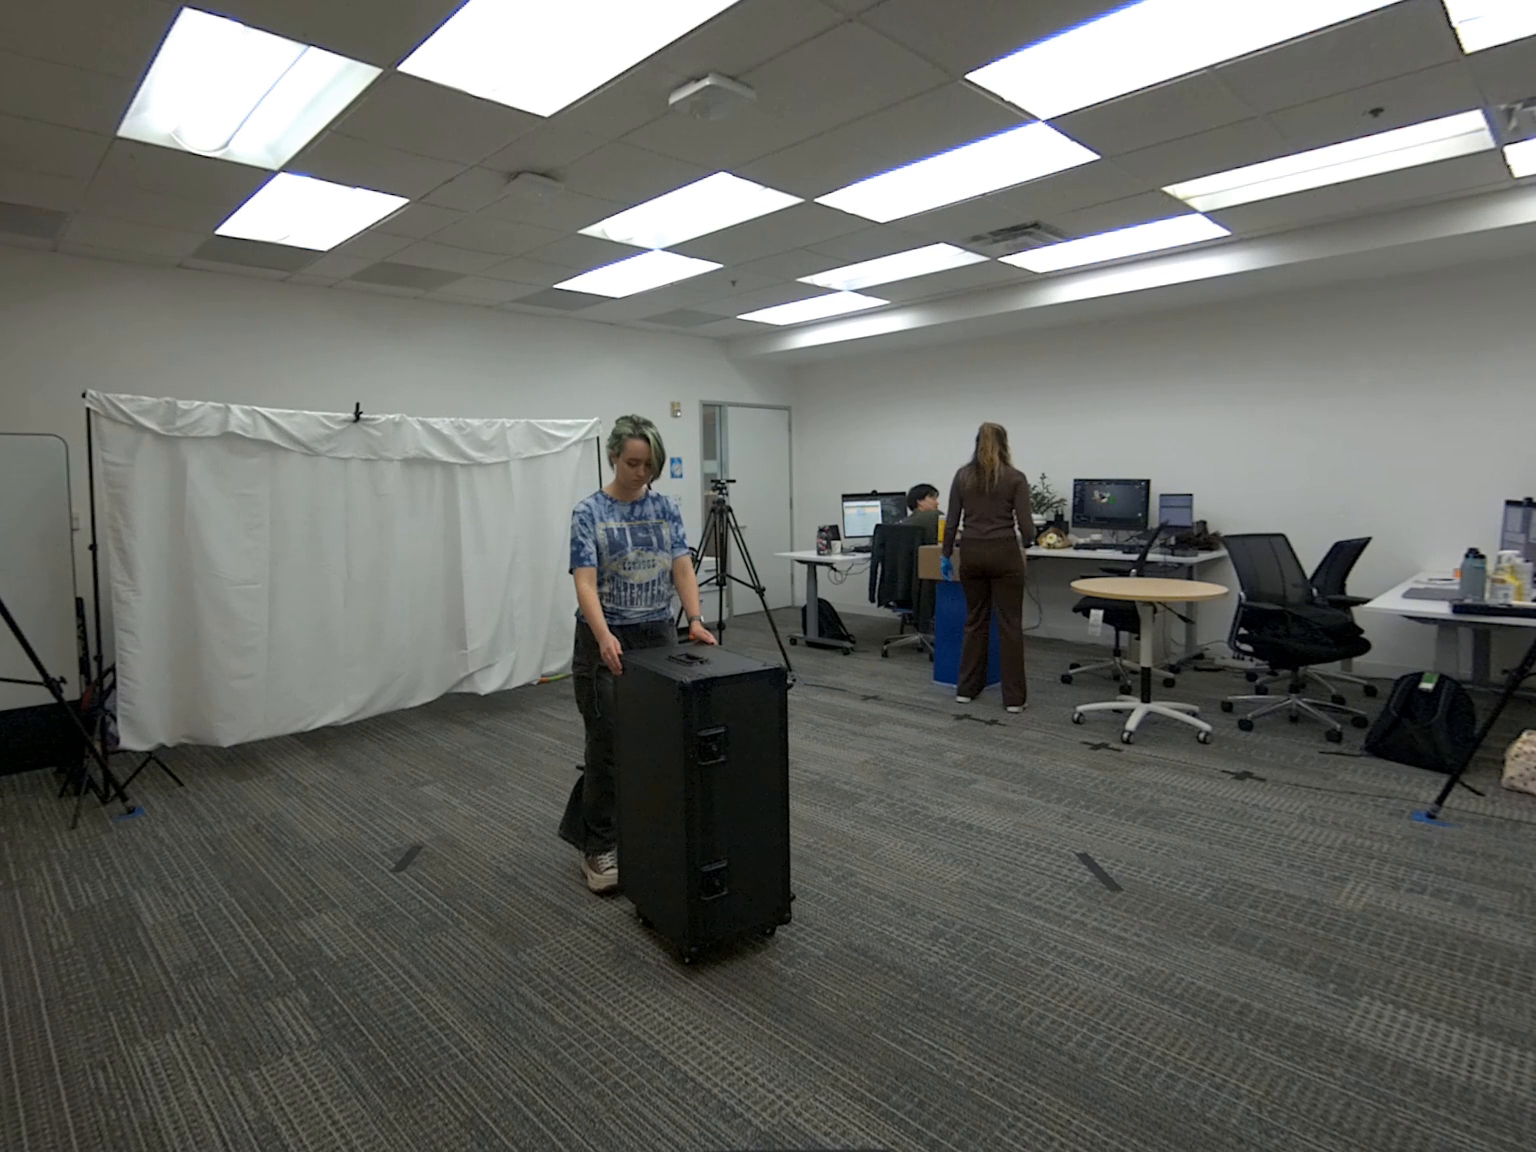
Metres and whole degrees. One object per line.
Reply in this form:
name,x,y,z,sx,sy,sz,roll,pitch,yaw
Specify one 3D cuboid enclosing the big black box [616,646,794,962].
big black box,-0.204,0.678,2.652,0.386,0.859,0.536,-3,4,-33
